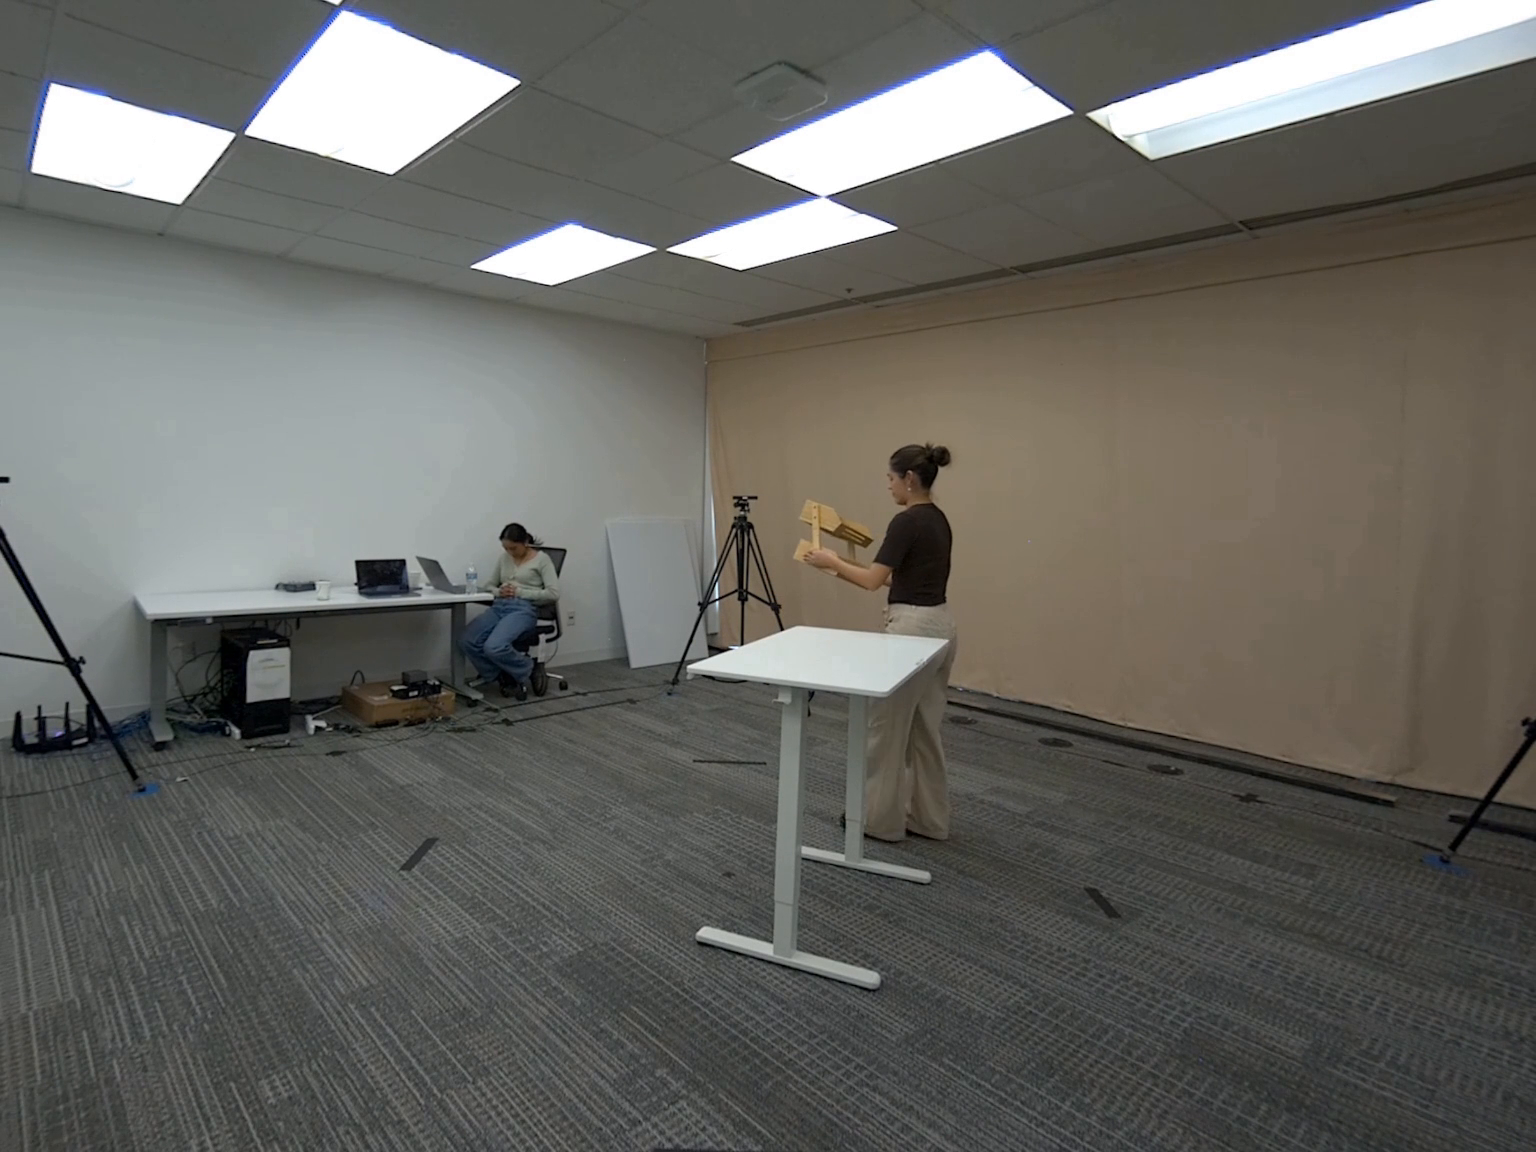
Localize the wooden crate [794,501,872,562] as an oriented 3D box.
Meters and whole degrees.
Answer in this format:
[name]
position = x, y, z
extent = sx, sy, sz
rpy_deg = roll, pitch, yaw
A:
[wooden crate]
position = 0.307, -0.135, 3.675
extent = 0.311, 0.273, 0.315
rpy_deg = 23, 1, 37
